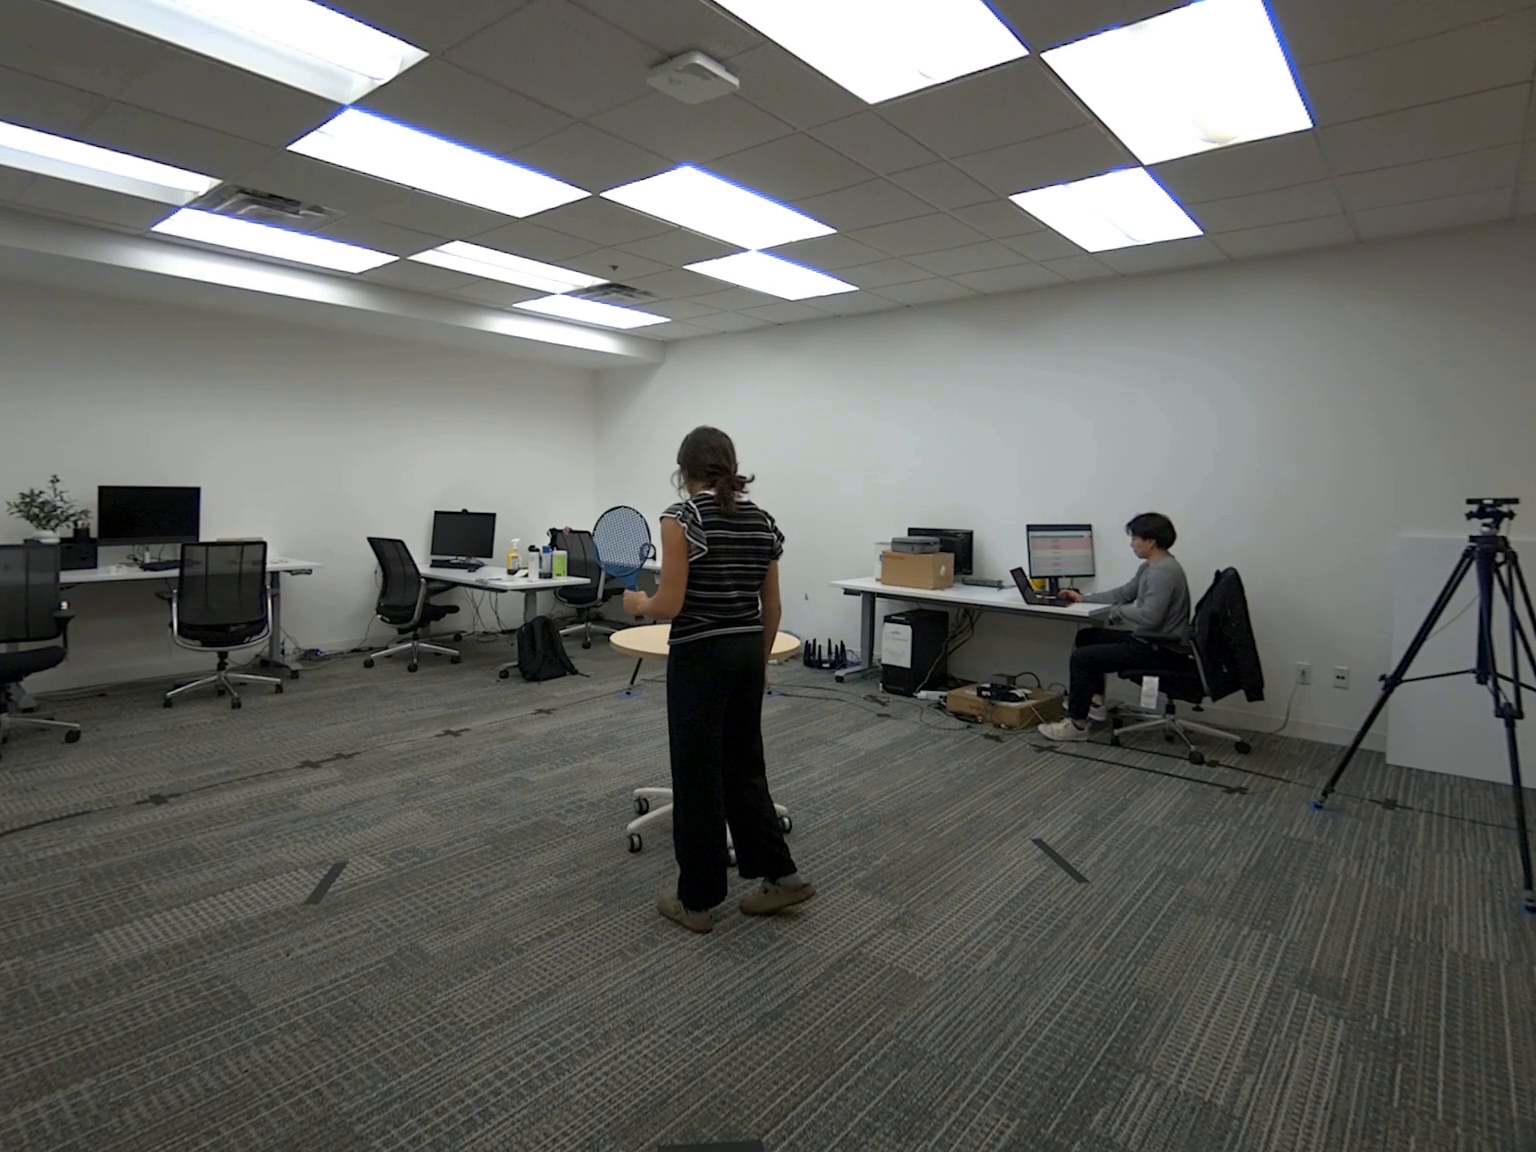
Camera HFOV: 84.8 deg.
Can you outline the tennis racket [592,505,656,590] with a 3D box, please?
[{"bbox_3d":[-0.478,-0.048,2.882,0.214,0.445,0.031,-23,-23,5],"label":"tennis racket"}]
